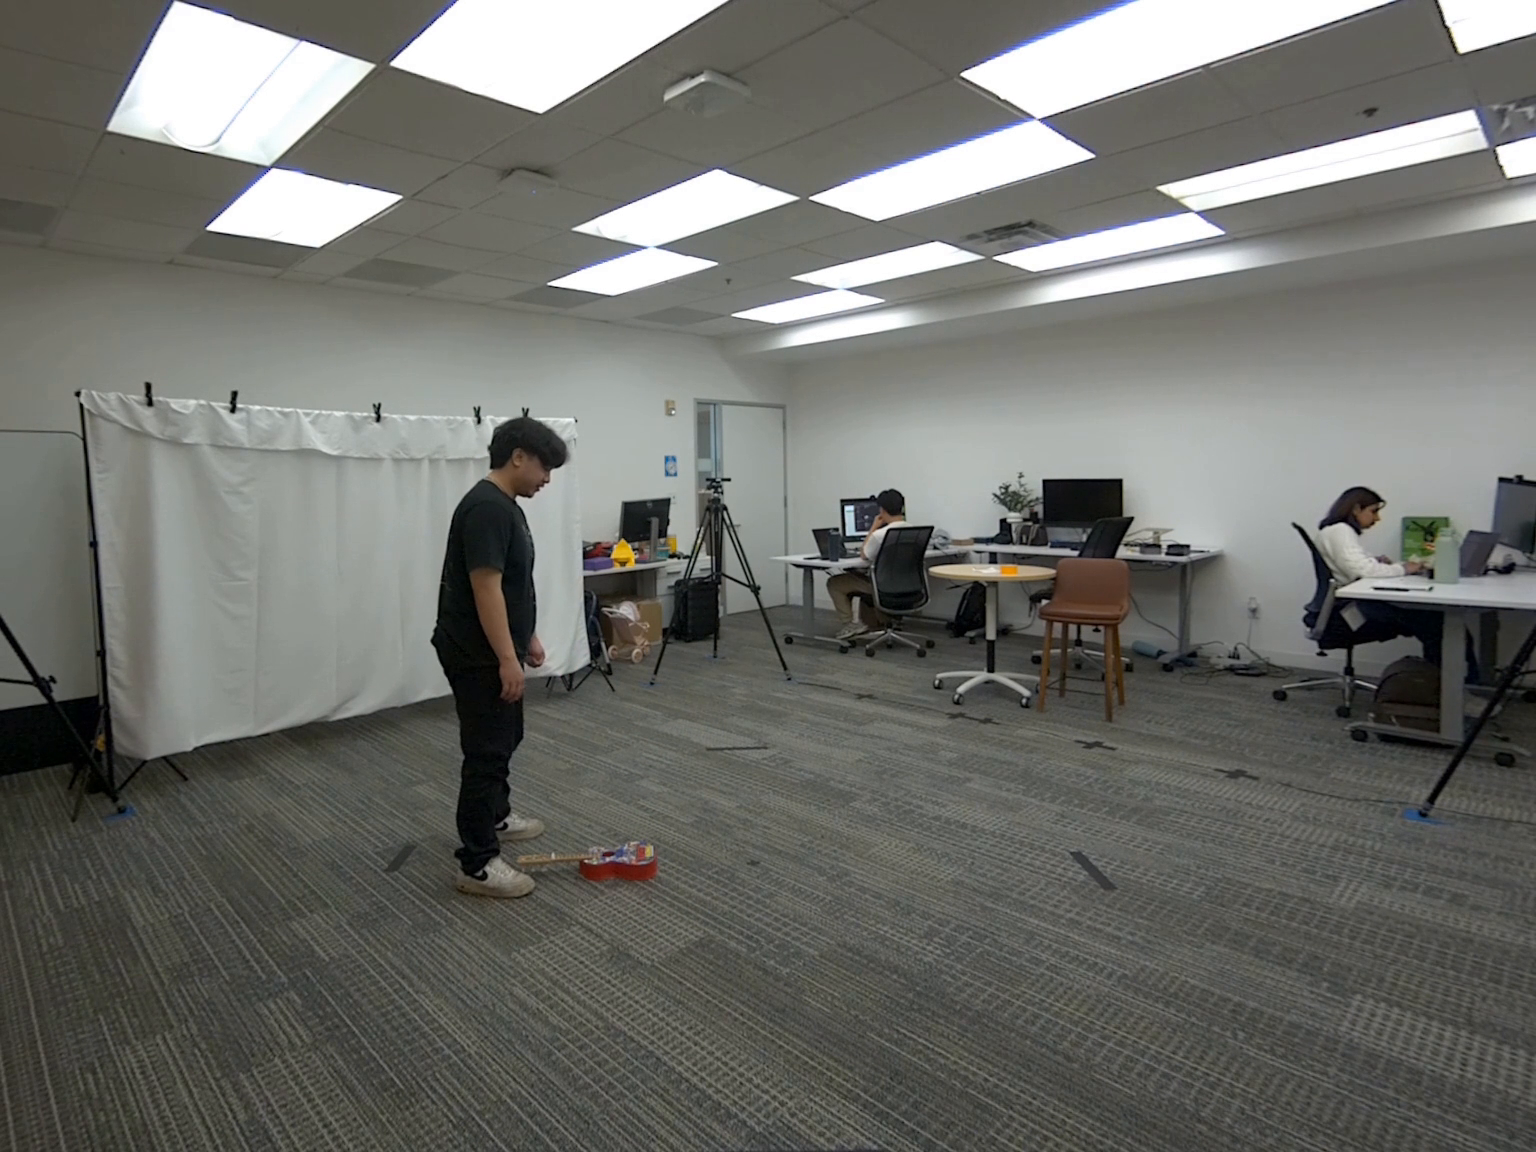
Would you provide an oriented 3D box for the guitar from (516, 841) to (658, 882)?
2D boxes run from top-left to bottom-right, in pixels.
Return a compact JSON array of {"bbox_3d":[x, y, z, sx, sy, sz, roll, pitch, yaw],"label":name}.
[{"bbox_3d":[-0.645,1.020,3.080,0.499,0.070,0.194,0,7,1],"label":"guitar"}]
